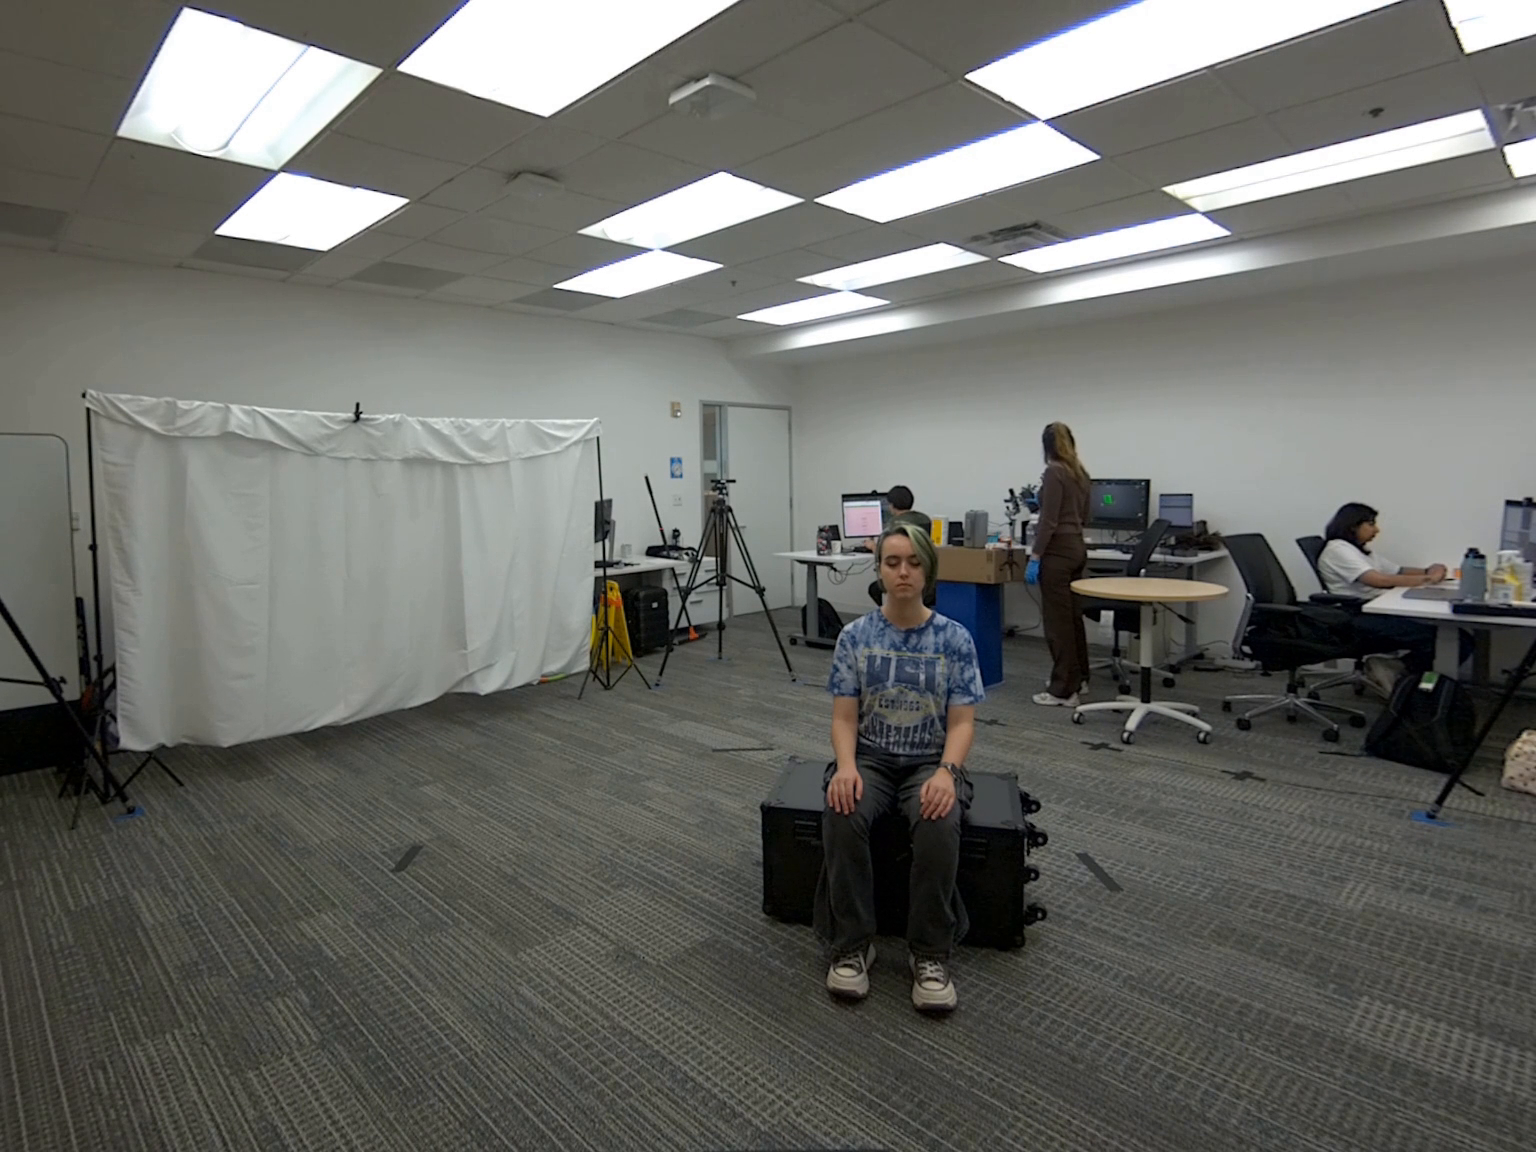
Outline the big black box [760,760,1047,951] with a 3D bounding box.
[{"bbox_3d":[0.448,0.882,2.801,0.874,0.395,0.516,0,5,15],"label":"big black box"}]
